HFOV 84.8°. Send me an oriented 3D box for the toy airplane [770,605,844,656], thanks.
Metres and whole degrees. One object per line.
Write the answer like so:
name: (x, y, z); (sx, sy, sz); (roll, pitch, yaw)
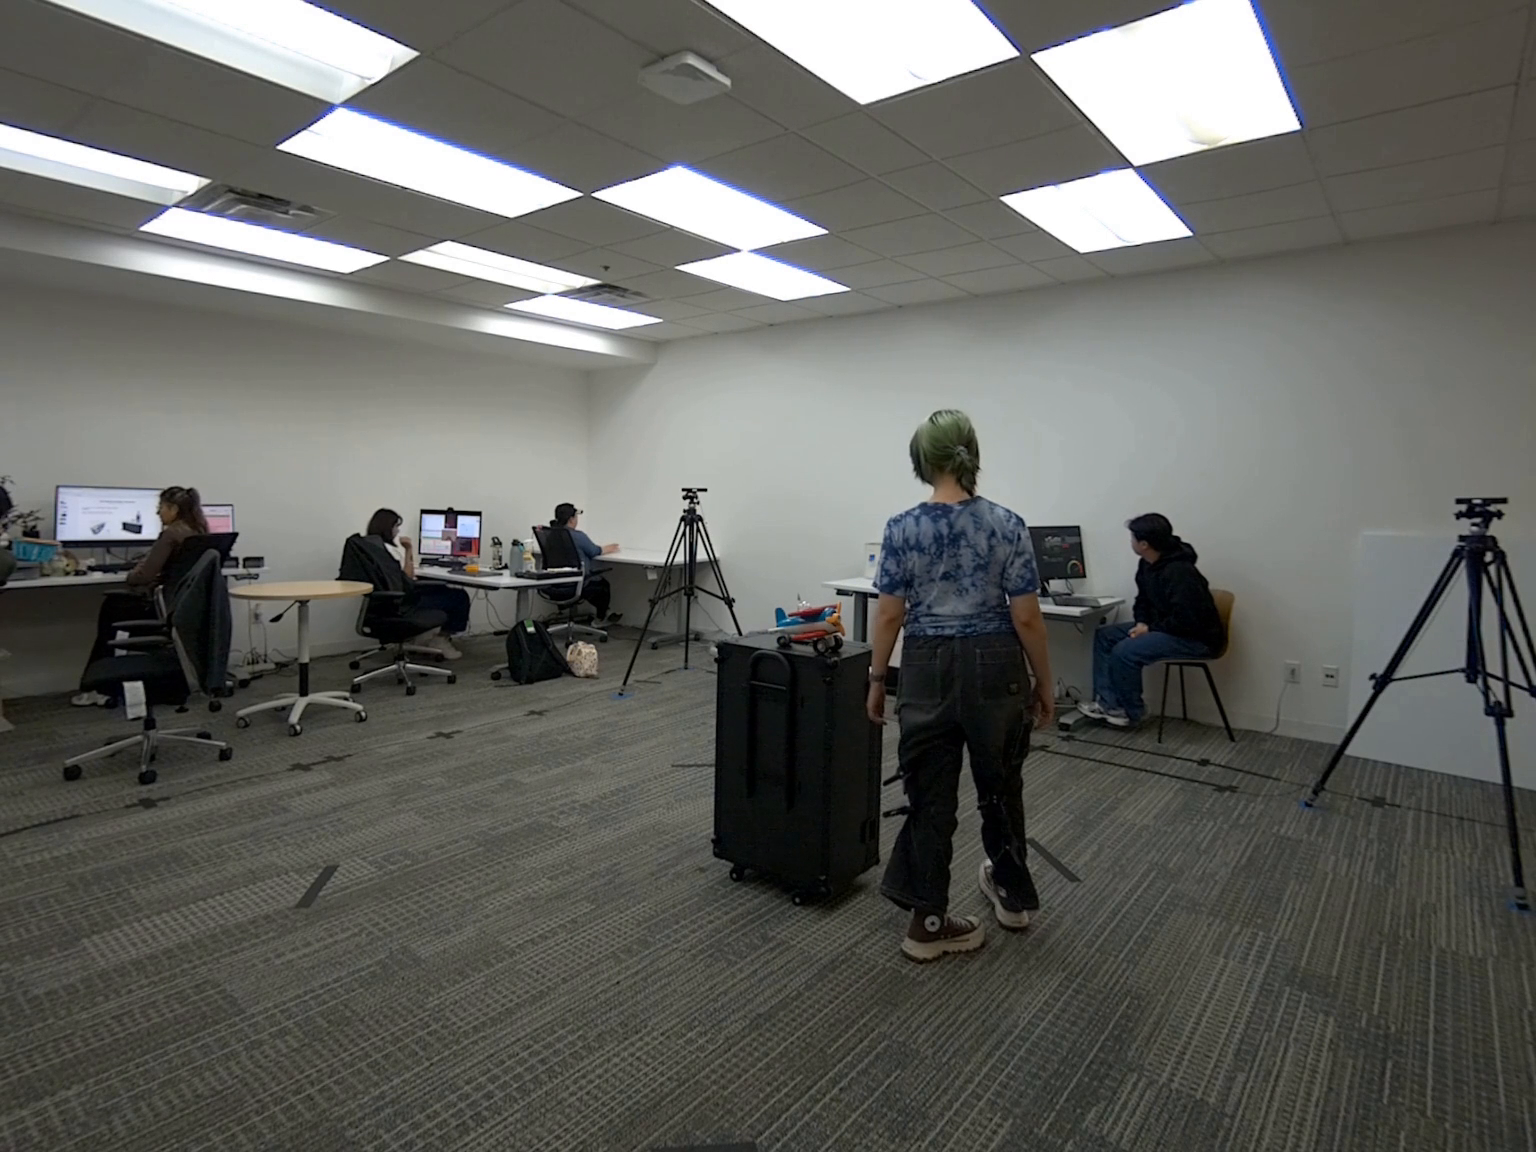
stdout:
toy airplane: (0.119, 0.170, 2.886); (0.262, 0.156, 0.249); (3, 6, 9)
